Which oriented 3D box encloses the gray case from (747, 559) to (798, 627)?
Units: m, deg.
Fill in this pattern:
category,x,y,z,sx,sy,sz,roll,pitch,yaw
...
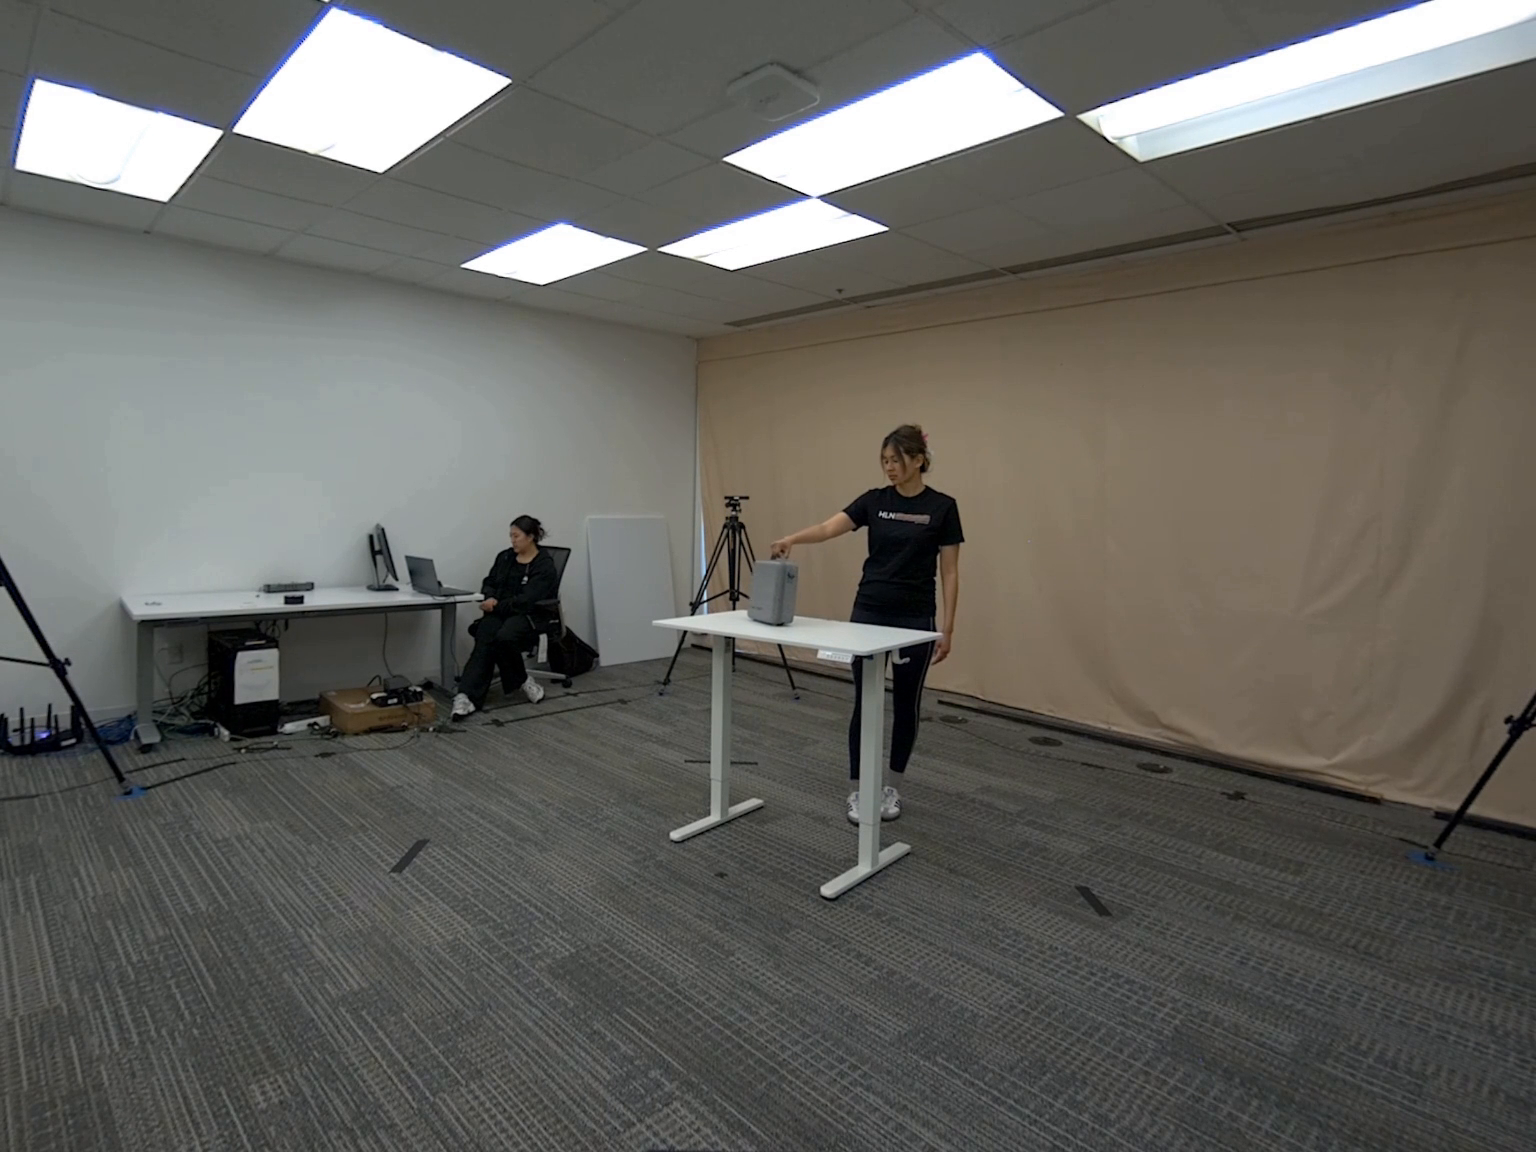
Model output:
category,x,y,z,sx,sy,sz,roll,pitch,yaw
gray case,0.000,0.060,3.473,0.102,0.261,0.261,6,-1,-24
